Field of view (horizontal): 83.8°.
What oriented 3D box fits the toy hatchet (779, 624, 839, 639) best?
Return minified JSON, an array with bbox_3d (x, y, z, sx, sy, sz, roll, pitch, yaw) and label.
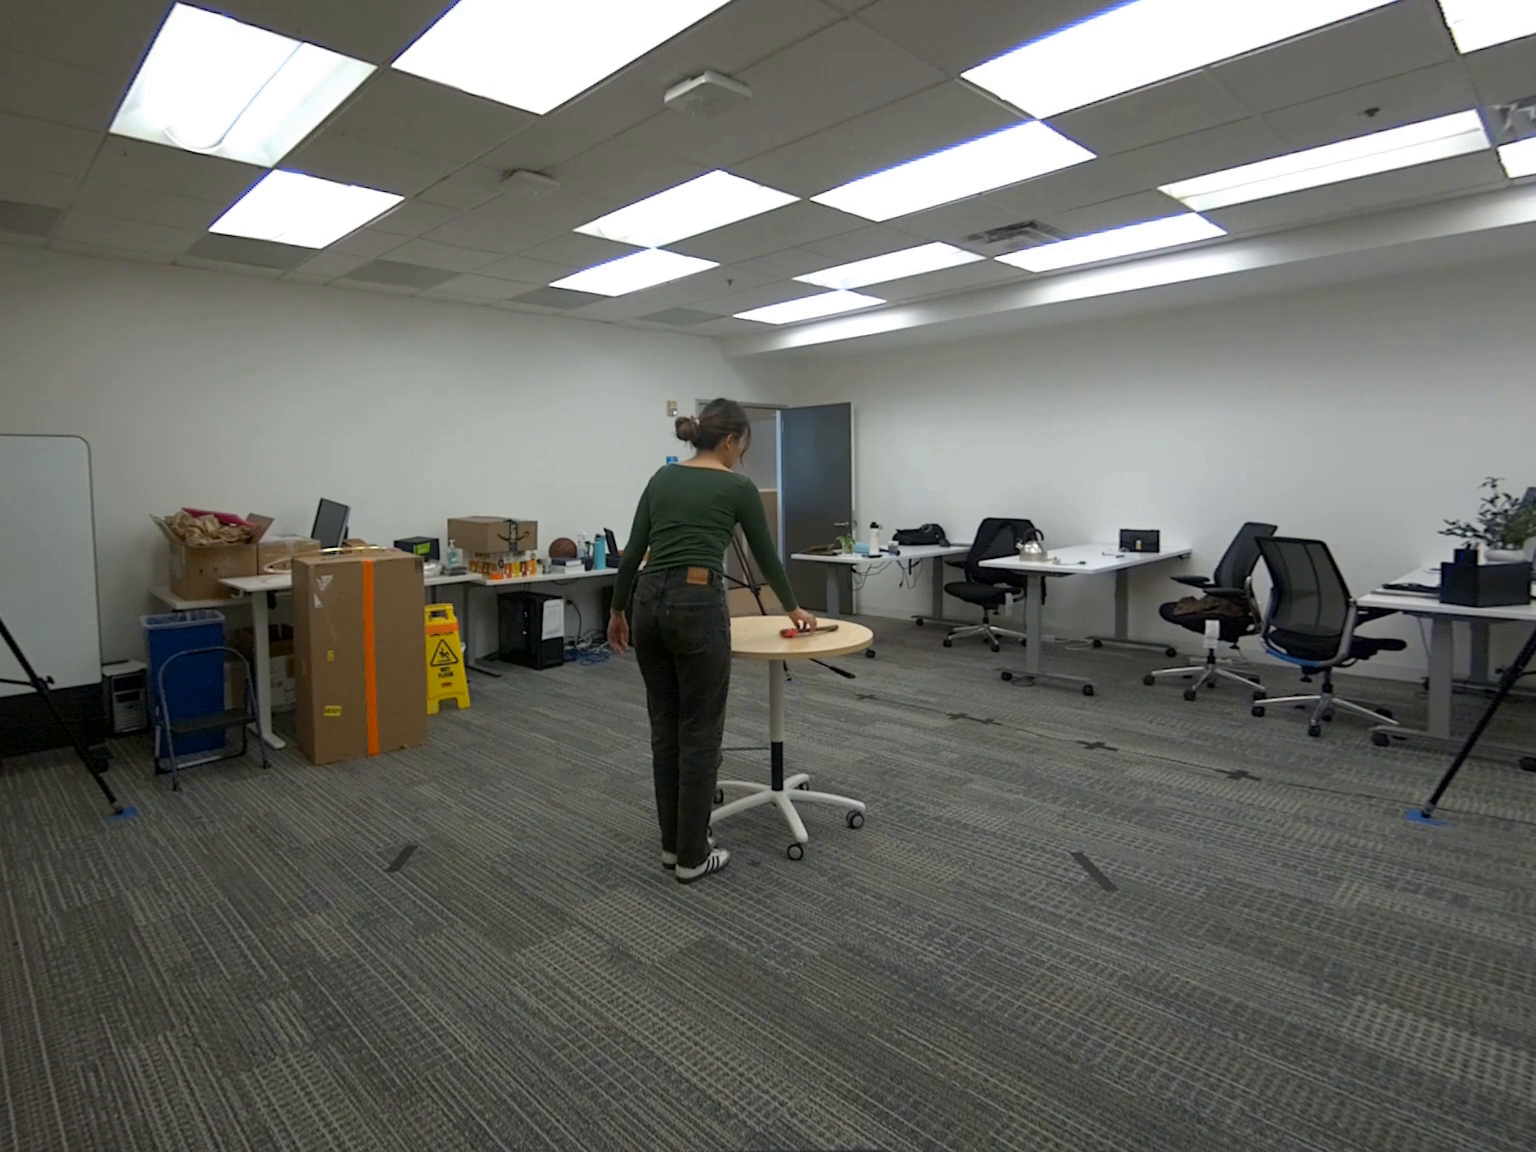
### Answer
[{"bbox_3d":[0.156,0.218,3.393,0.262,0.030,0.134,-3,-3,-44],"label":"toy hatchet"}]
